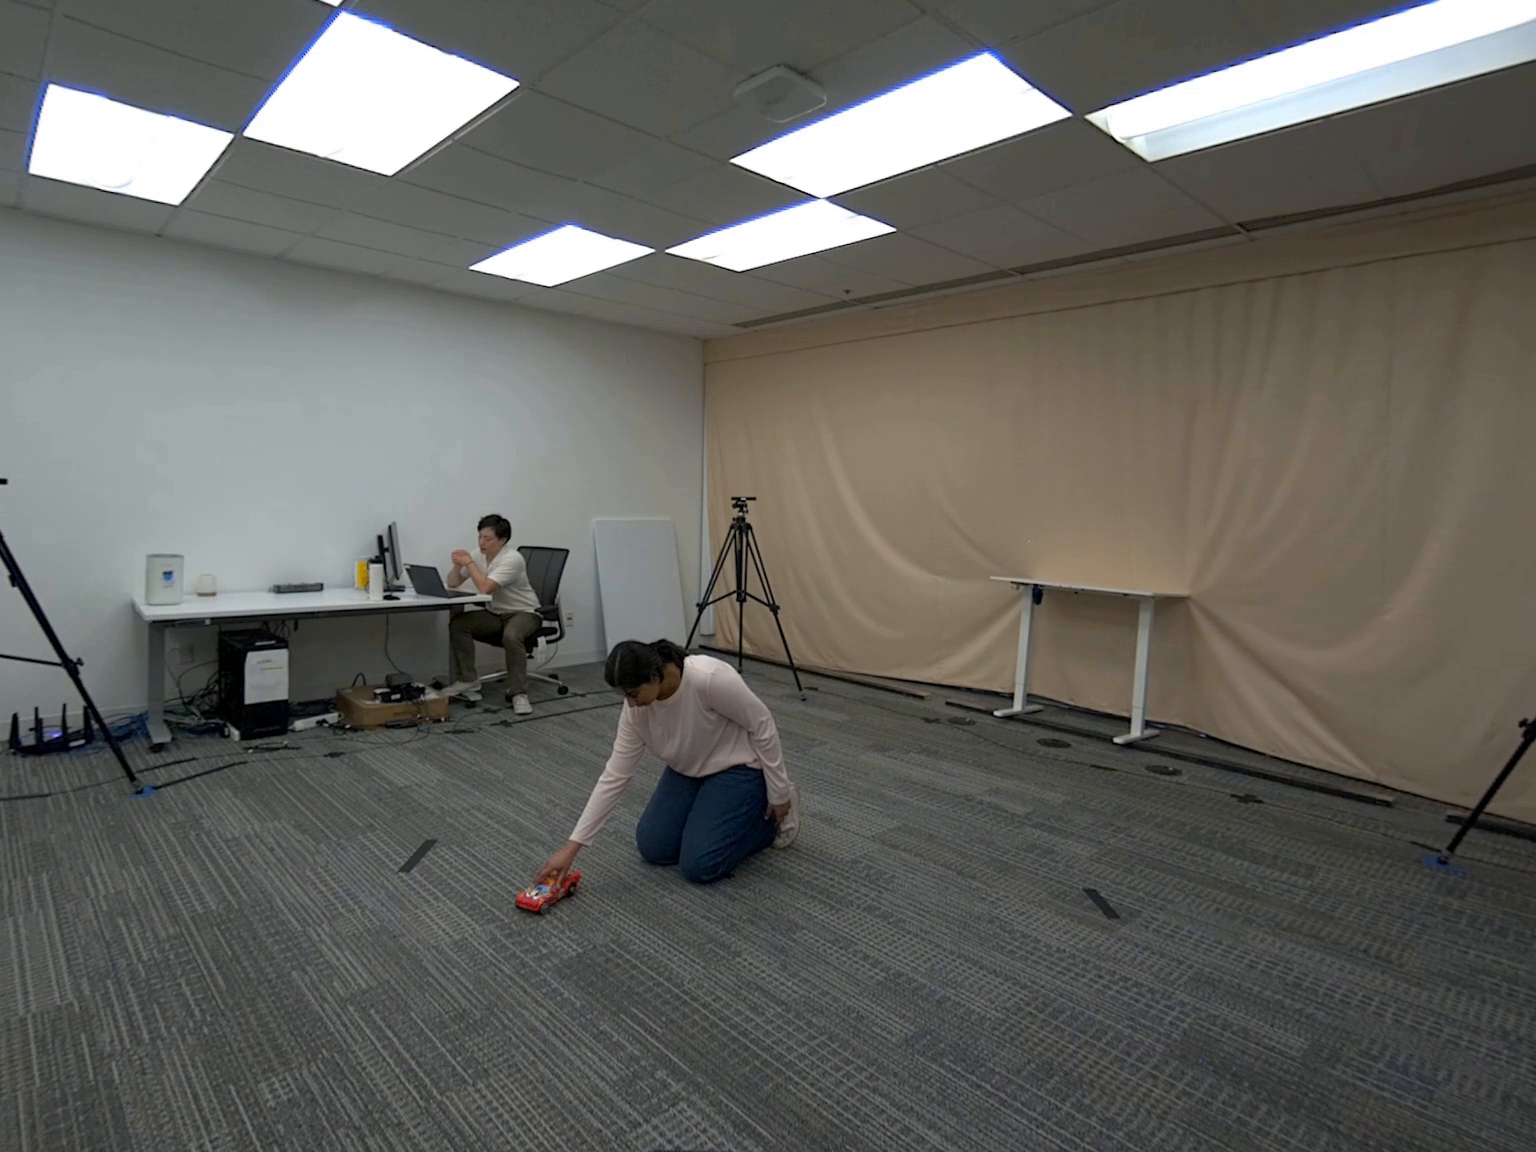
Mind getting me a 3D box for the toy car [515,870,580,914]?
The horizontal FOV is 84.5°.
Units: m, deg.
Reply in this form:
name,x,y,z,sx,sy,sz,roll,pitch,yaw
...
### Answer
name,x,y,z,sx,sy,sz,roll,pitch,yaw
toy car,-0.759,1.087,2.893,0.133,0.082,0.252,2,16,26
